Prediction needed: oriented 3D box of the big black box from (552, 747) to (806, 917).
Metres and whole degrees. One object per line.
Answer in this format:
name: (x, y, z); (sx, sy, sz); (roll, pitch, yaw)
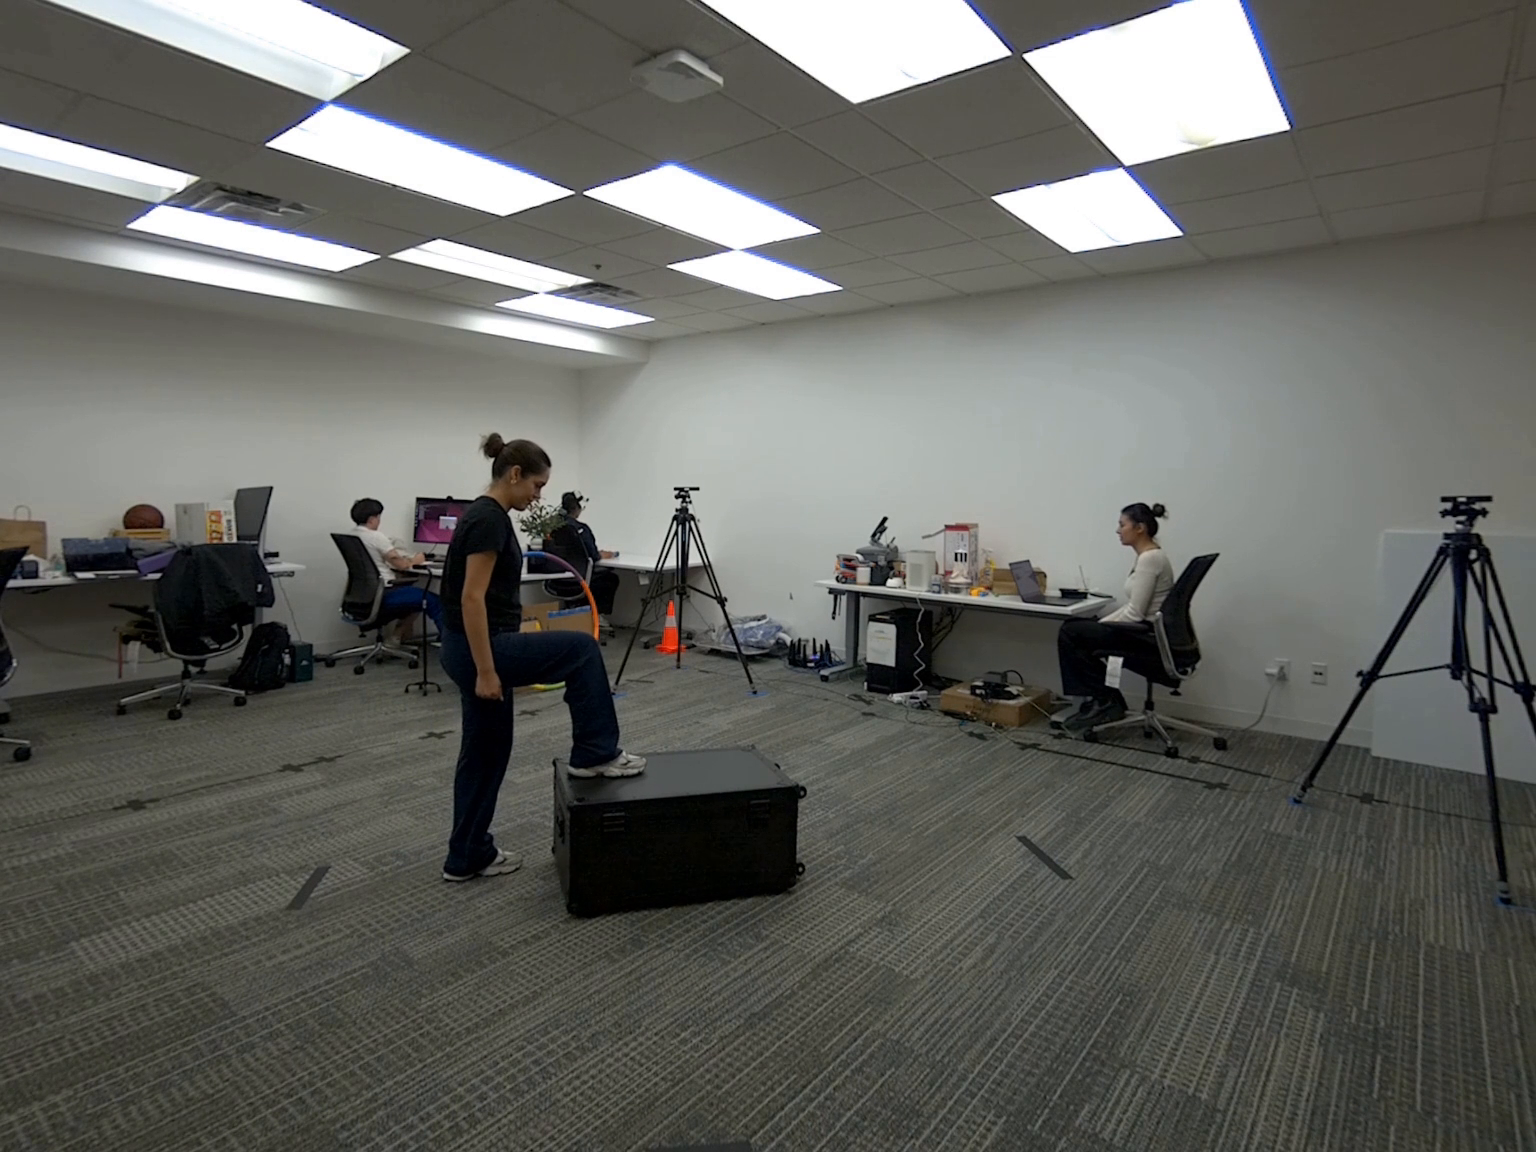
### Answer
big black box: (-0.303, 0.875, 3.057); (0.846, 0.395, 0.533); (-1, 5, -18)
